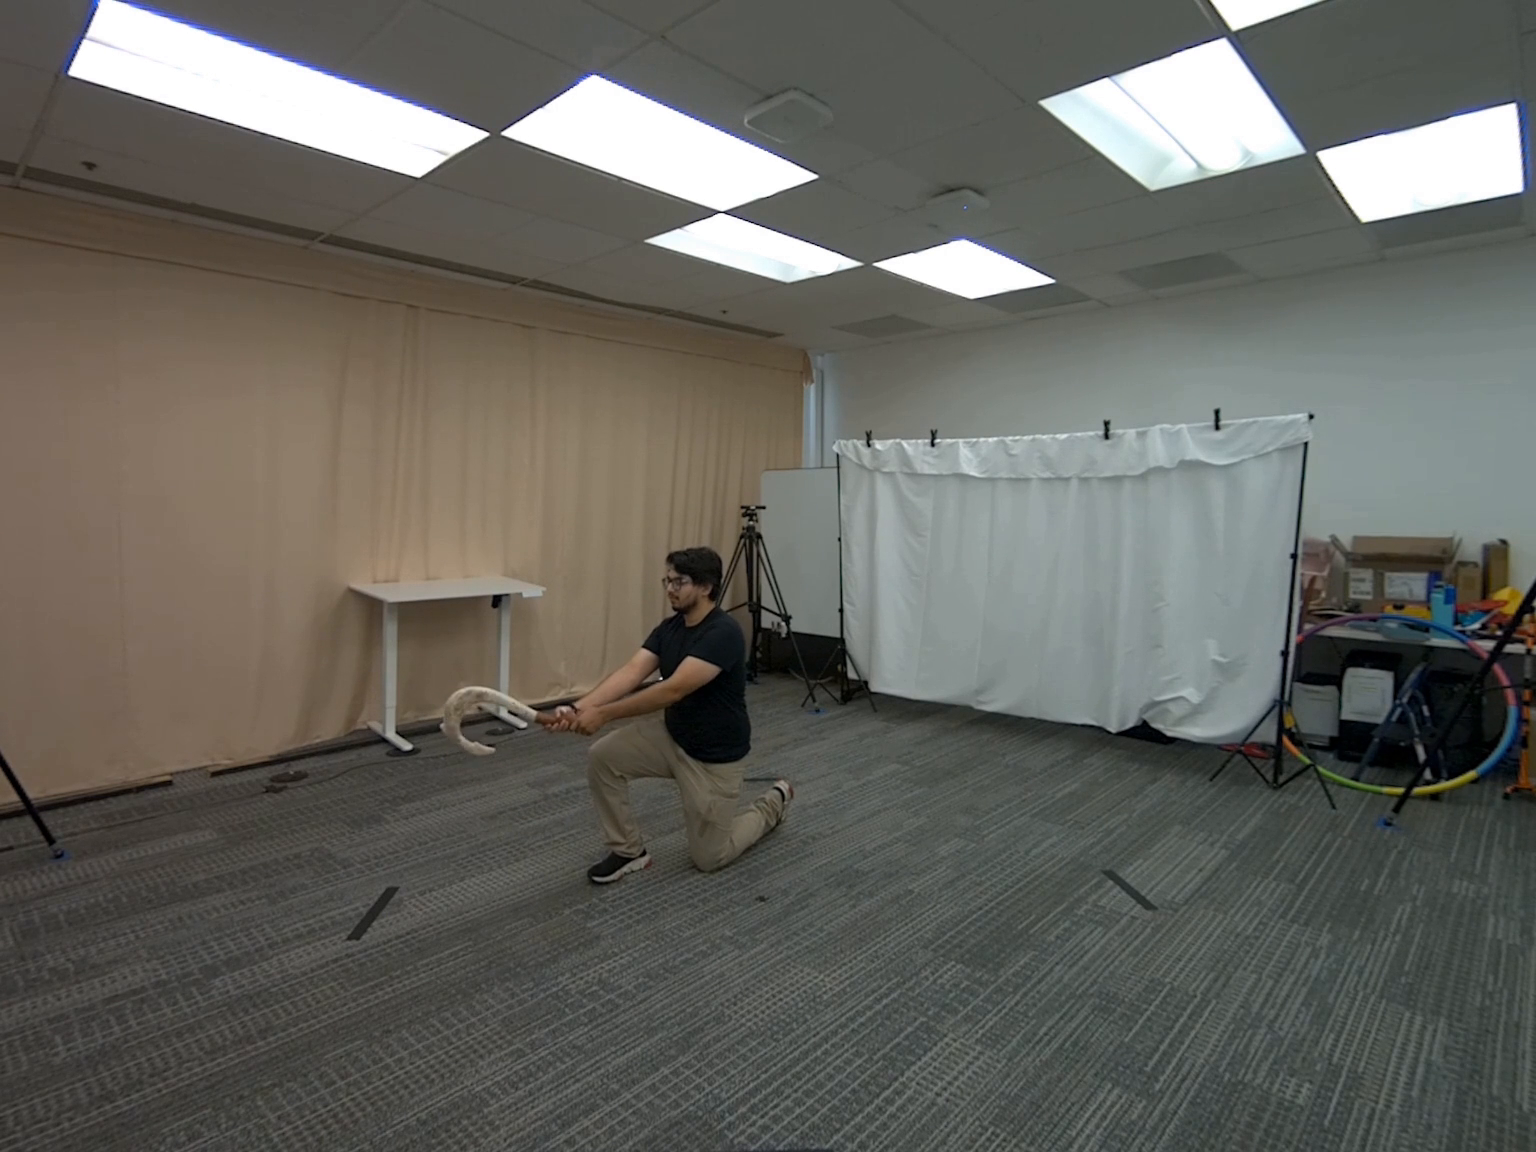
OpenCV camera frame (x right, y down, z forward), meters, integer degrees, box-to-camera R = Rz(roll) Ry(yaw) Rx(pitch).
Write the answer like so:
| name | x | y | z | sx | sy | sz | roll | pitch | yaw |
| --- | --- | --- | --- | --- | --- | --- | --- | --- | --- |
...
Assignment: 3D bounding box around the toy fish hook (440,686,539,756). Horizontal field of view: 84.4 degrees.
| name | x | y | z | sx | sy | sz | roll | pitch | yaw |
| --- | --- | --- | --- | --- | --- | --- | --- | --- | --- |
| toy fish hook | -0.886 | 0.537 | 2.927 | 0.498 | 0.224 | 0.049 | 14 | 2 | -14 |
